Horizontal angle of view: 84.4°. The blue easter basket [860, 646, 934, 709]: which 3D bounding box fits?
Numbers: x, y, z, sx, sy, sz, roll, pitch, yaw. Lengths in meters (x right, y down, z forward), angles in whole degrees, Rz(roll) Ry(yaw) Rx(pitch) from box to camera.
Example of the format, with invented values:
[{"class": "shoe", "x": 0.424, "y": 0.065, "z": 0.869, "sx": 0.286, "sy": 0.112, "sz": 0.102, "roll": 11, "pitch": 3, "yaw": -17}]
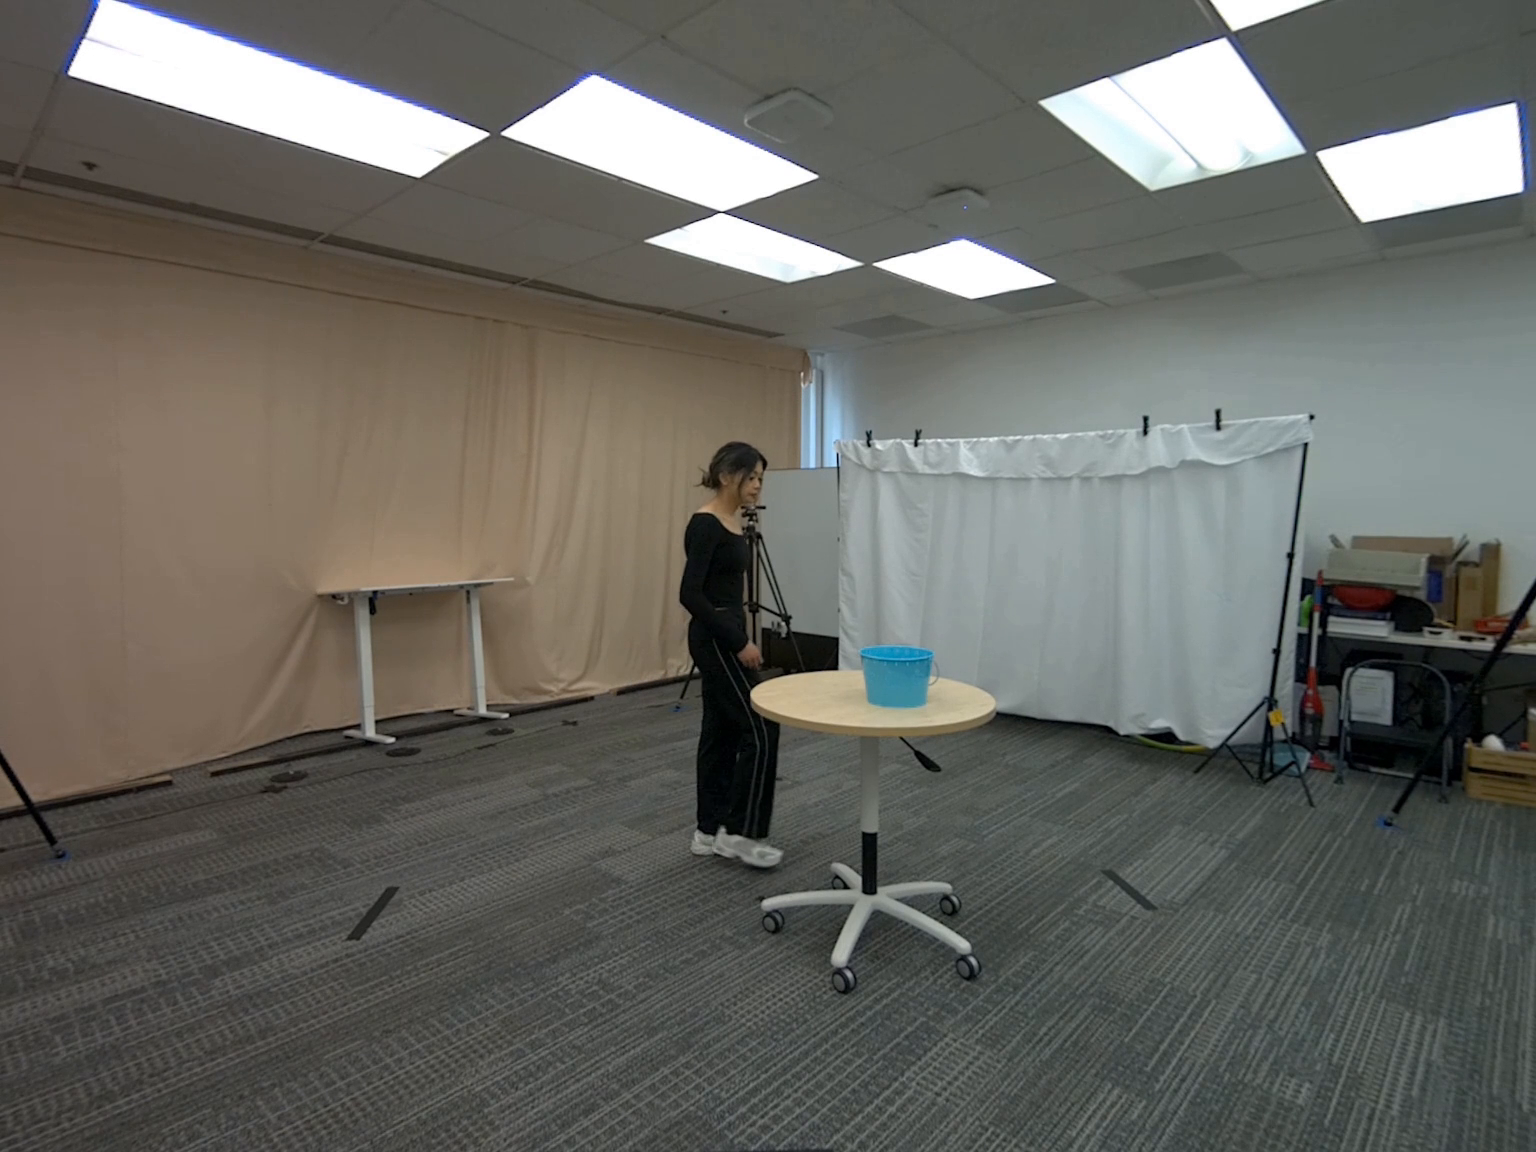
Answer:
[{"class": "blue easter basket", "x": 0.419, "y": 0.320, "z": 2.598, "sx": 0.243, "sy": 0.155, "sz": 0.244, "roll": -1, "pitch": 5, "yaw": -2}]
